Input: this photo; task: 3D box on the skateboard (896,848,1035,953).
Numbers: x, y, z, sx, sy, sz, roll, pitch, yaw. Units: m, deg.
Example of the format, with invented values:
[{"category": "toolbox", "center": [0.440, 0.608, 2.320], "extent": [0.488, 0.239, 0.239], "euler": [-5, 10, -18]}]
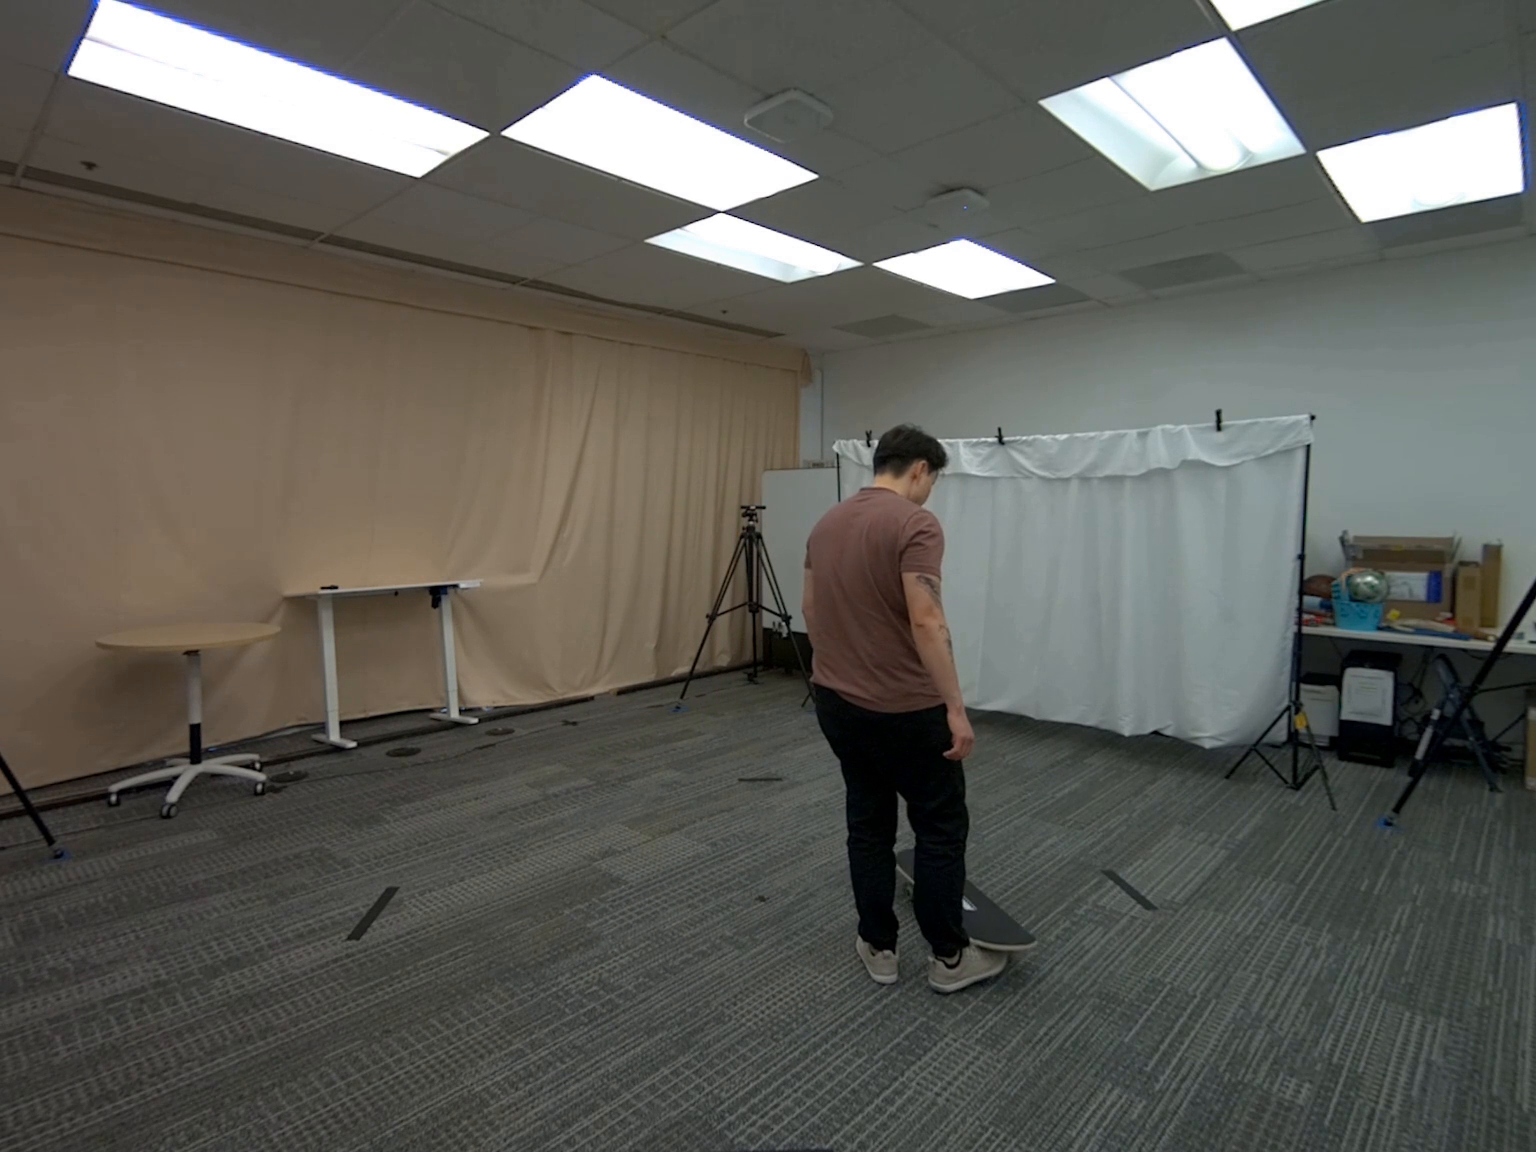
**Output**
[{"category": "skateboard", "center": [0.634, 1.093, 2.786], "extent": [0.191, 0.110, 0.796], "euler": [-1, 3, -13]}]
